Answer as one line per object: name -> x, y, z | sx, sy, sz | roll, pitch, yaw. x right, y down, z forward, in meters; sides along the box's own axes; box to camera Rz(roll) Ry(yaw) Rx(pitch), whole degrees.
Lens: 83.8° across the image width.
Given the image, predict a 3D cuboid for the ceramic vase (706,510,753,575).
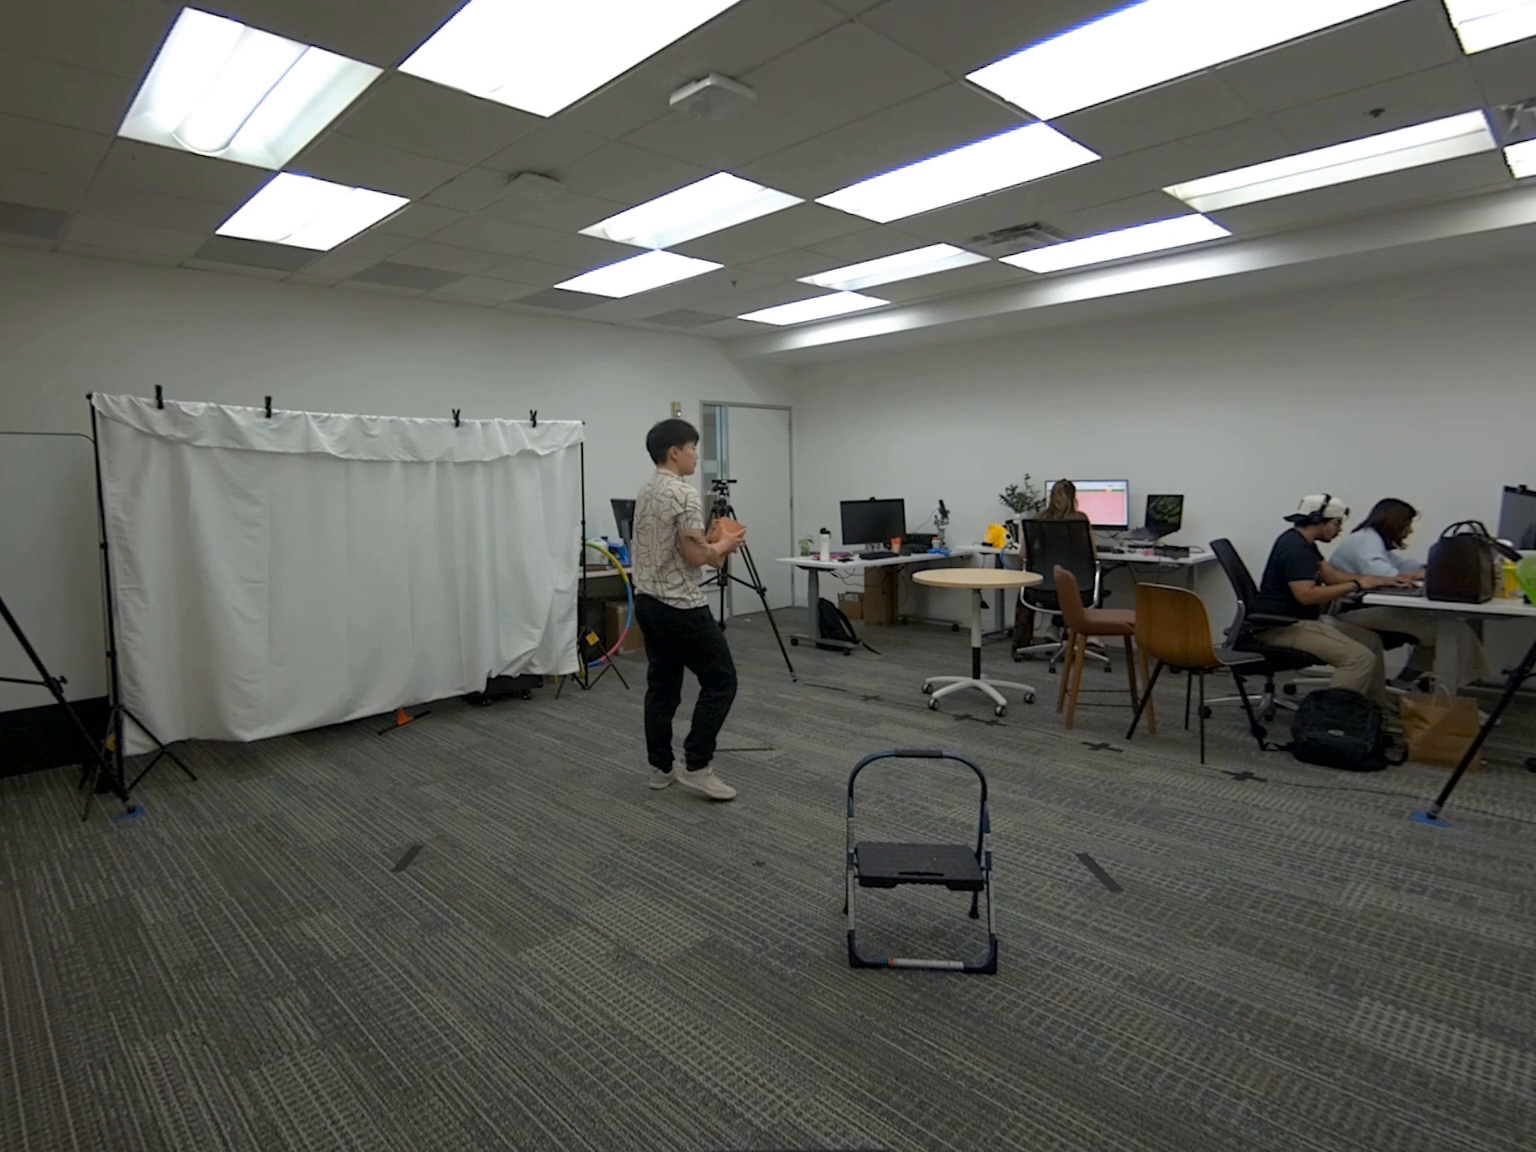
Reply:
ceramic vase -> -0.202, -0.156, 3.974 | 0.162, 0.221, 0.131 | 23, -17, 16
